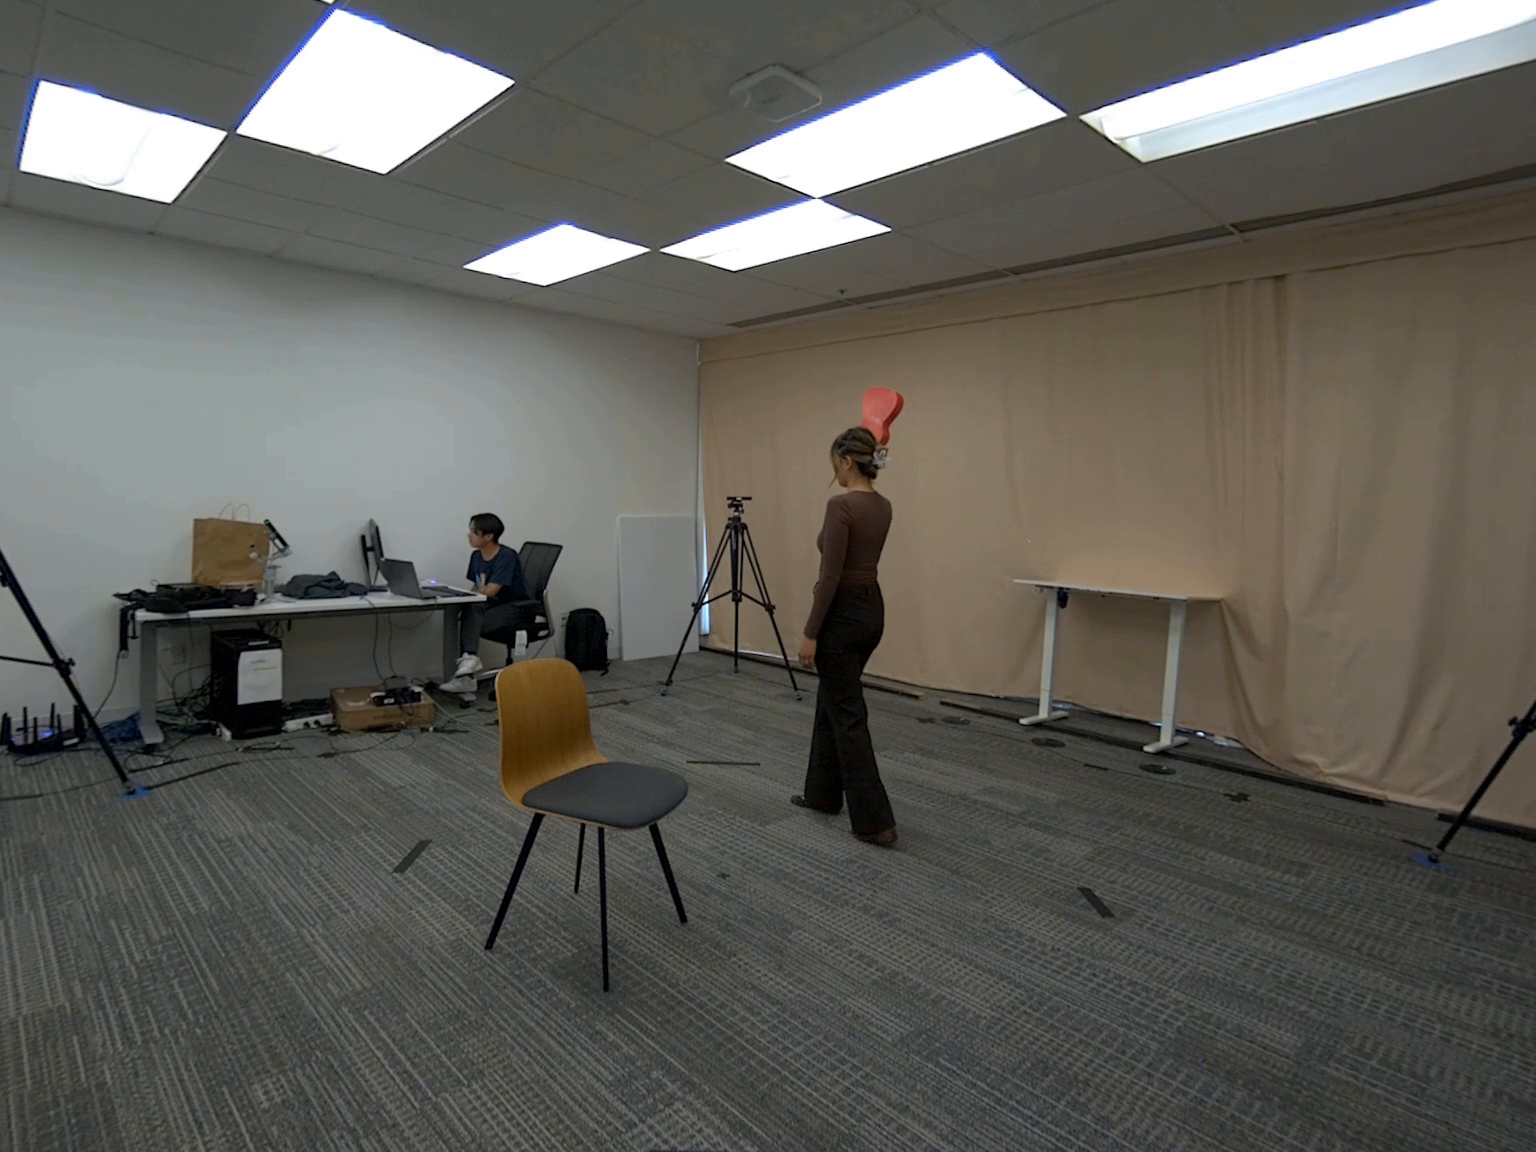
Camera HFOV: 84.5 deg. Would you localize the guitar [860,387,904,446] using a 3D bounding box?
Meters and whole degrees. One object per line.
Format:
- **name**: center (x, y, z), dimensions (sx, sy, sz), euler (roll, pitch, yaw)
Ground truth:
- **guitar**: center (0.473, -0.601, 3.789), dimensions (0.198, 0.498, 0.069), euler (8, -3, 44)
